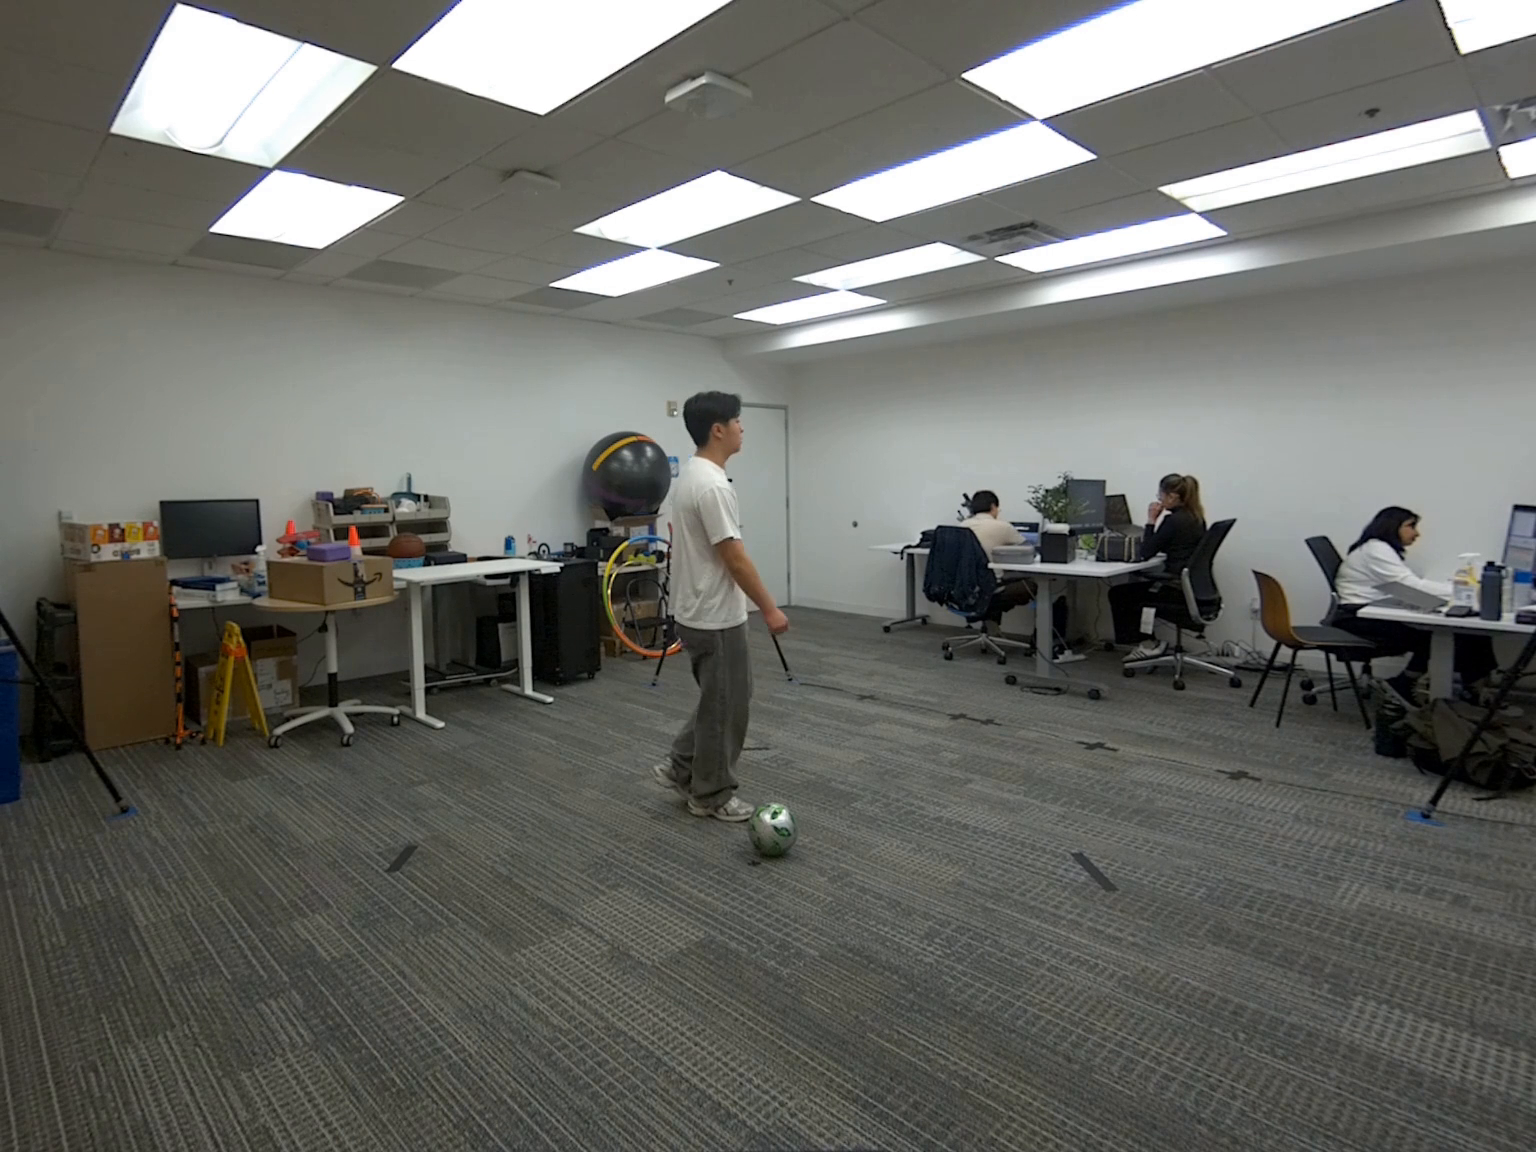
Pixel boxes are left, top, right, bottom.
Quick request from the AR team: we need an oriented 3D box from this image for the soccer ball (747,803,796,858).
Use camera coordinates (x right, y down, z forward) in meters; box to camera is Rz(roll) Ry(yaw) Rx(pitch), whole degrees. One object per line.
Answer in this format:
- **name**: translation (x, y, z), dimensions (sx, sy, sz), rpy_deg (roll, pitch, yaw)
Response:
- **soccer ball**: translation (0.020, 0.942, 3.184), dimensions (0.187, 0.187, 0.188), rpy_deg (-1, 5, -2)
